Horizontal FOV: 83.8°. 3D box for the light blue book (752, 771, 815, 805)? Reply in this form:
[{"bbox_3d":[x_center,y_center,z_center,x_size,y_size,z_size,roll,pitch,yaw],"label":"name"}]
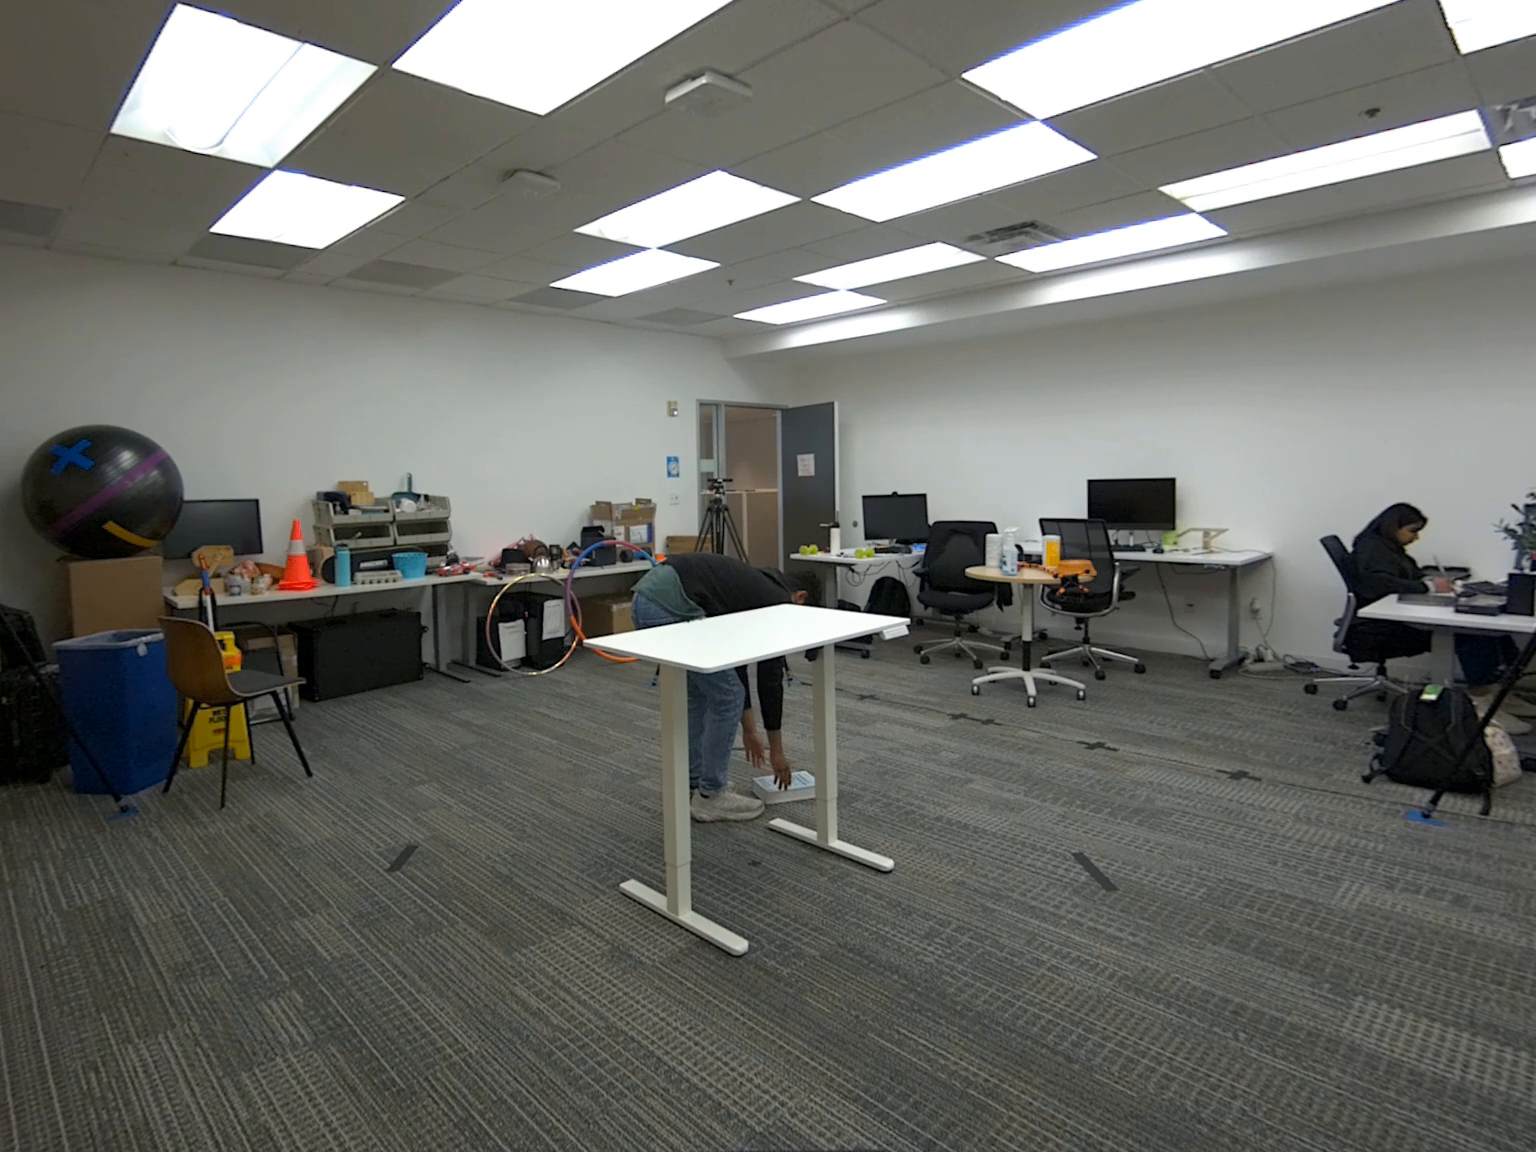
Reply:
[{"bbox_3d":[0.082,0.934,3.788,0.257,0.059,0.196,-4,7,-19],"label":"light blue book"}]
